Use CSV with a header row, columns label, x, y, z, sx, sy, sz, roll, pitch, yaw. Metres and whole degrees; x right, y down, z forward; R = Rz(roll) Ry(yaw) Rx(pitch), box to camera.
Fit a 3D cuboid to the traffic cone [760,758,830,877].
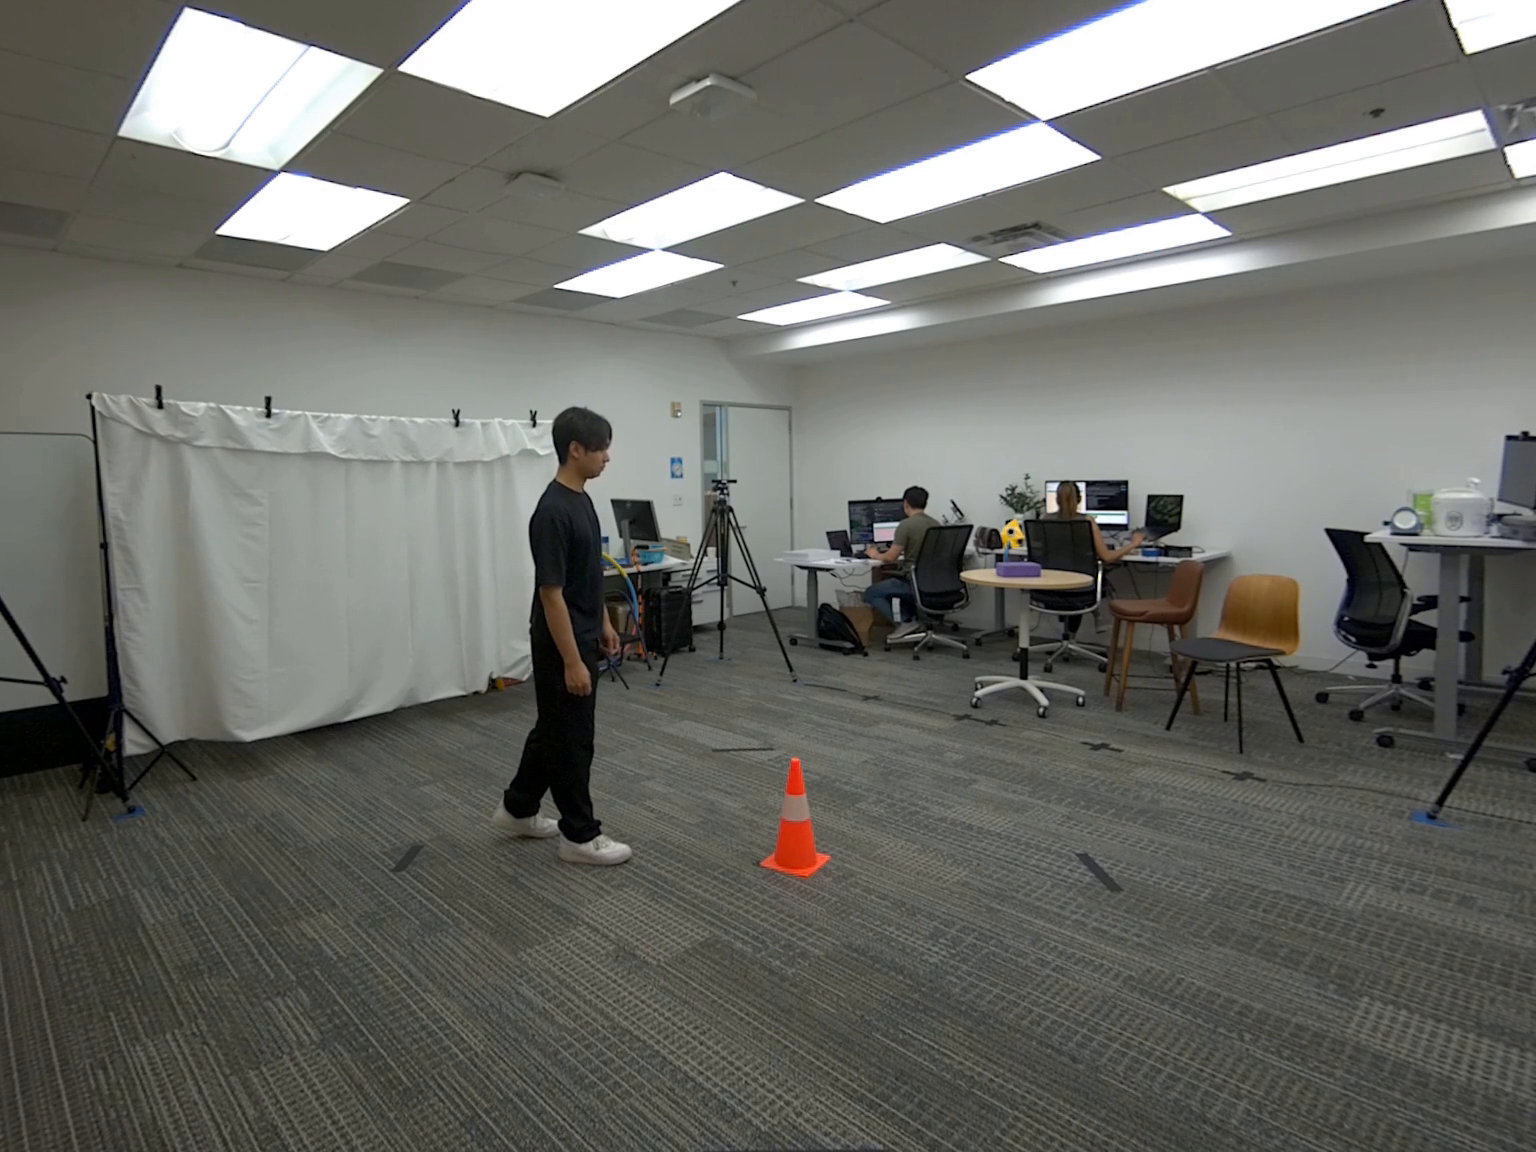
label,x,y,z,sx,sy,sz,roll,pitch,yaw
traffic cone,0.092,0.858,3.113,0.208,0.382,0.201,1,5,29
